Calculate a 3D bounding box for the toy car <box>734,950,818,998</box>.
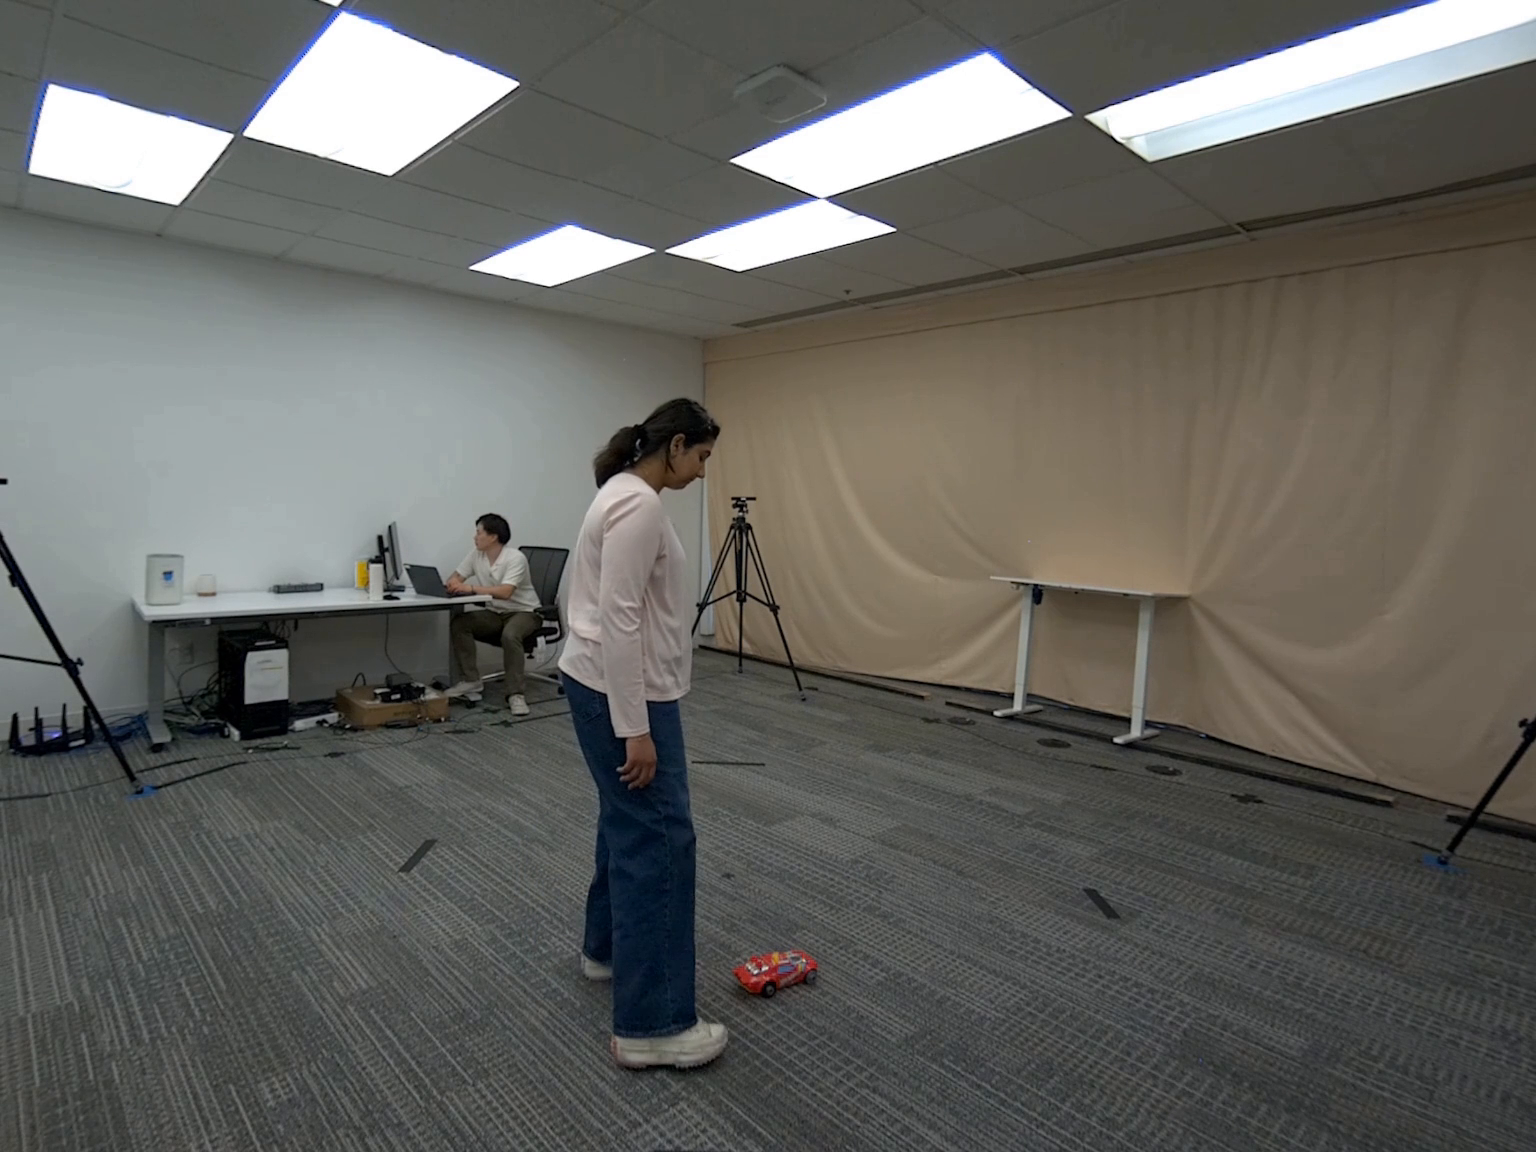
[{"bbox_3d":[0.012,1.147,2.414,0.248,0.083,0.133,11,0,-31],"label":"toy car"}]
